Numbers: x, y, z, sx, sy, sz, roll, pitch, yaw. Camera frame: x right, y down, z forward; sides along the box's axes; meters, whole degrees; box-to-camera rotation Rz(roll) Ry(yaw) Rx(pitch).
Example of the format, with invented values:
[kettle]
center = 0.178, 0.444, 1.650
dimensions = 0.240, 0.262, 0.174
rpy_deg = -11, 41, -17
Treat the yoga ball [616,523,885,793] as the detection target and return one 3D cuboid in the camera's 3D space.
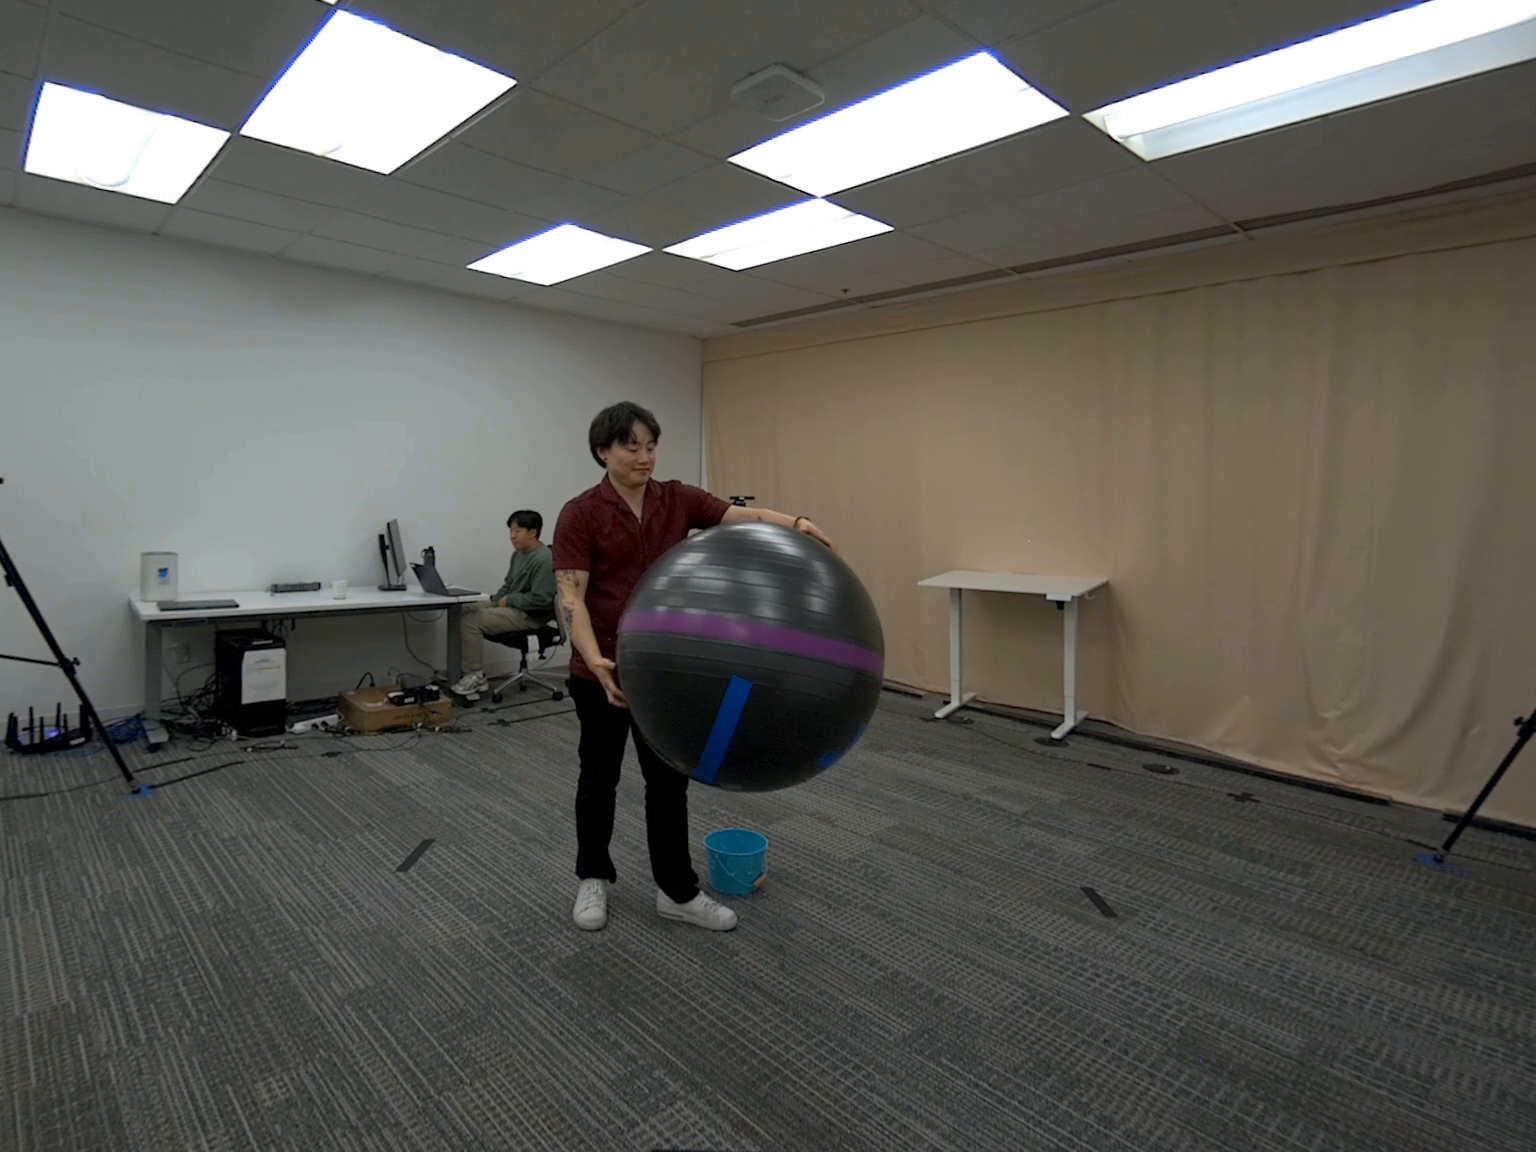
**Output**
[yoga ball]
center = -0.052, 0.230, 2.398
dimensions = 0.757, 0.756, 0.761
rpy_deg = 1, 4, -1
